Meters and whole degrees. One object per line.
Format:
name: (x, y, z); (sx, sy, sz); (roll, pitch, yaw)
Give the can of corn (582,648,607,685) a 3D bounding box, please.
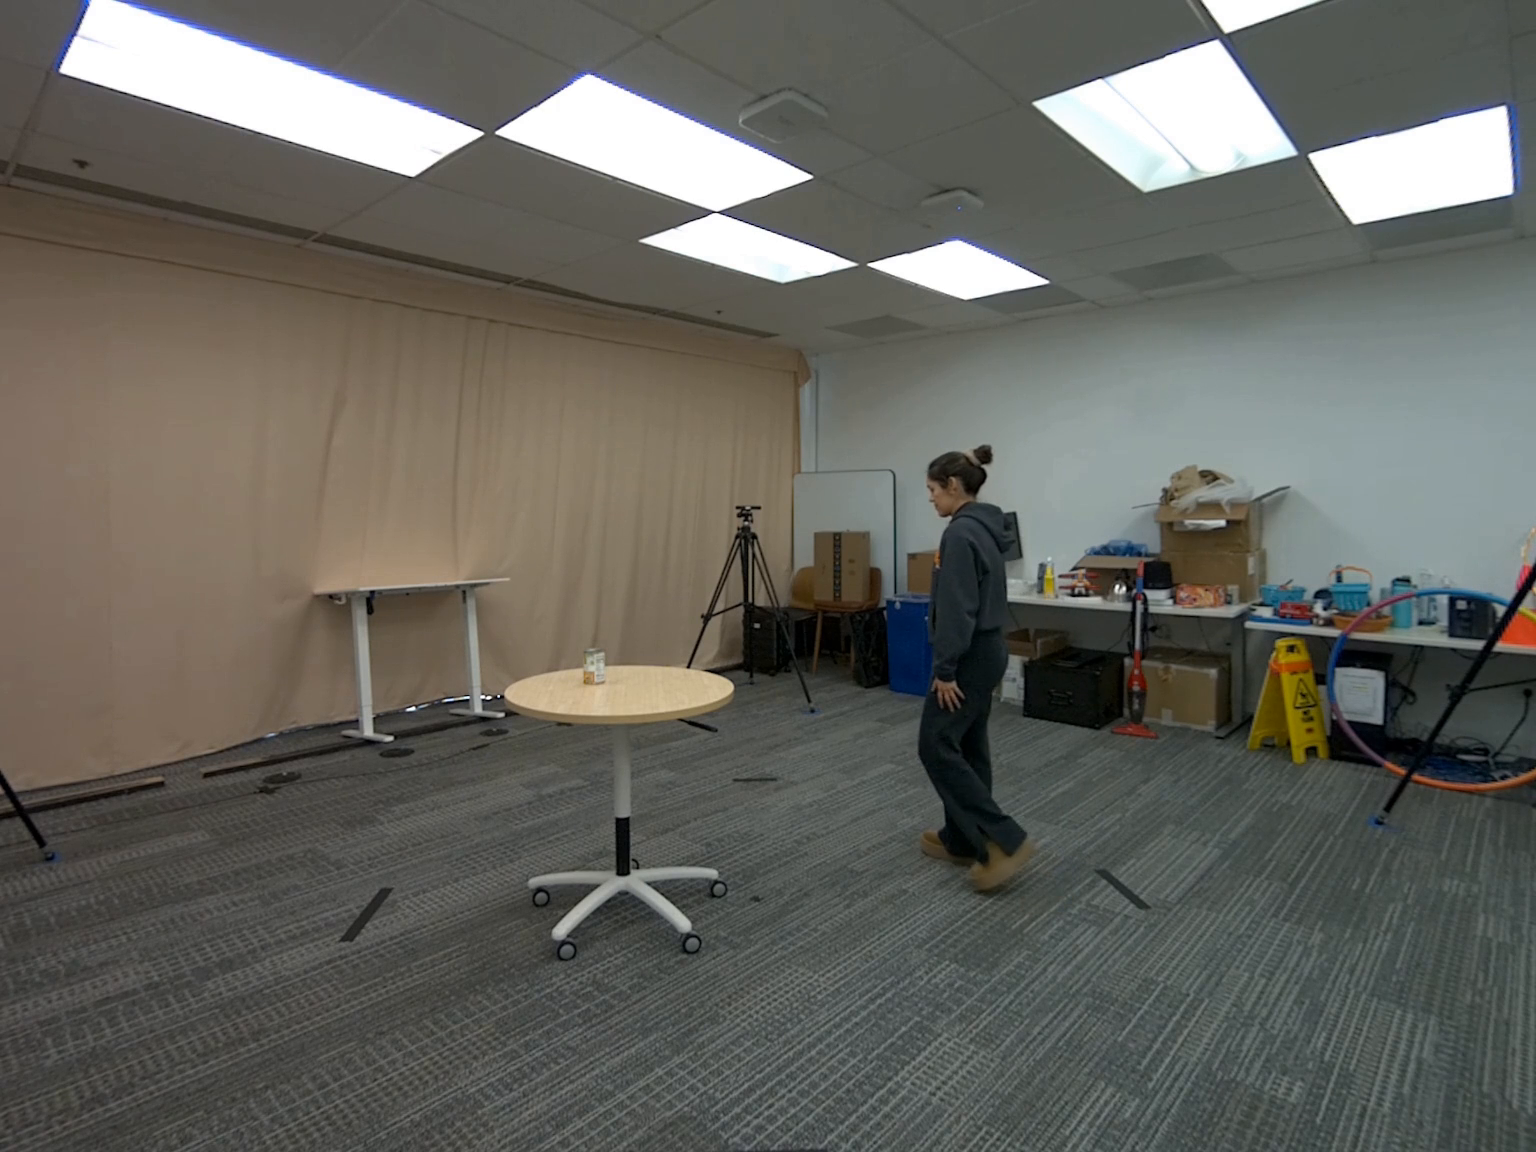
can of corn: (-0.589, 0.321, 2.921); (0.074, 0.111, 0.074); (-1, 0, -2)
